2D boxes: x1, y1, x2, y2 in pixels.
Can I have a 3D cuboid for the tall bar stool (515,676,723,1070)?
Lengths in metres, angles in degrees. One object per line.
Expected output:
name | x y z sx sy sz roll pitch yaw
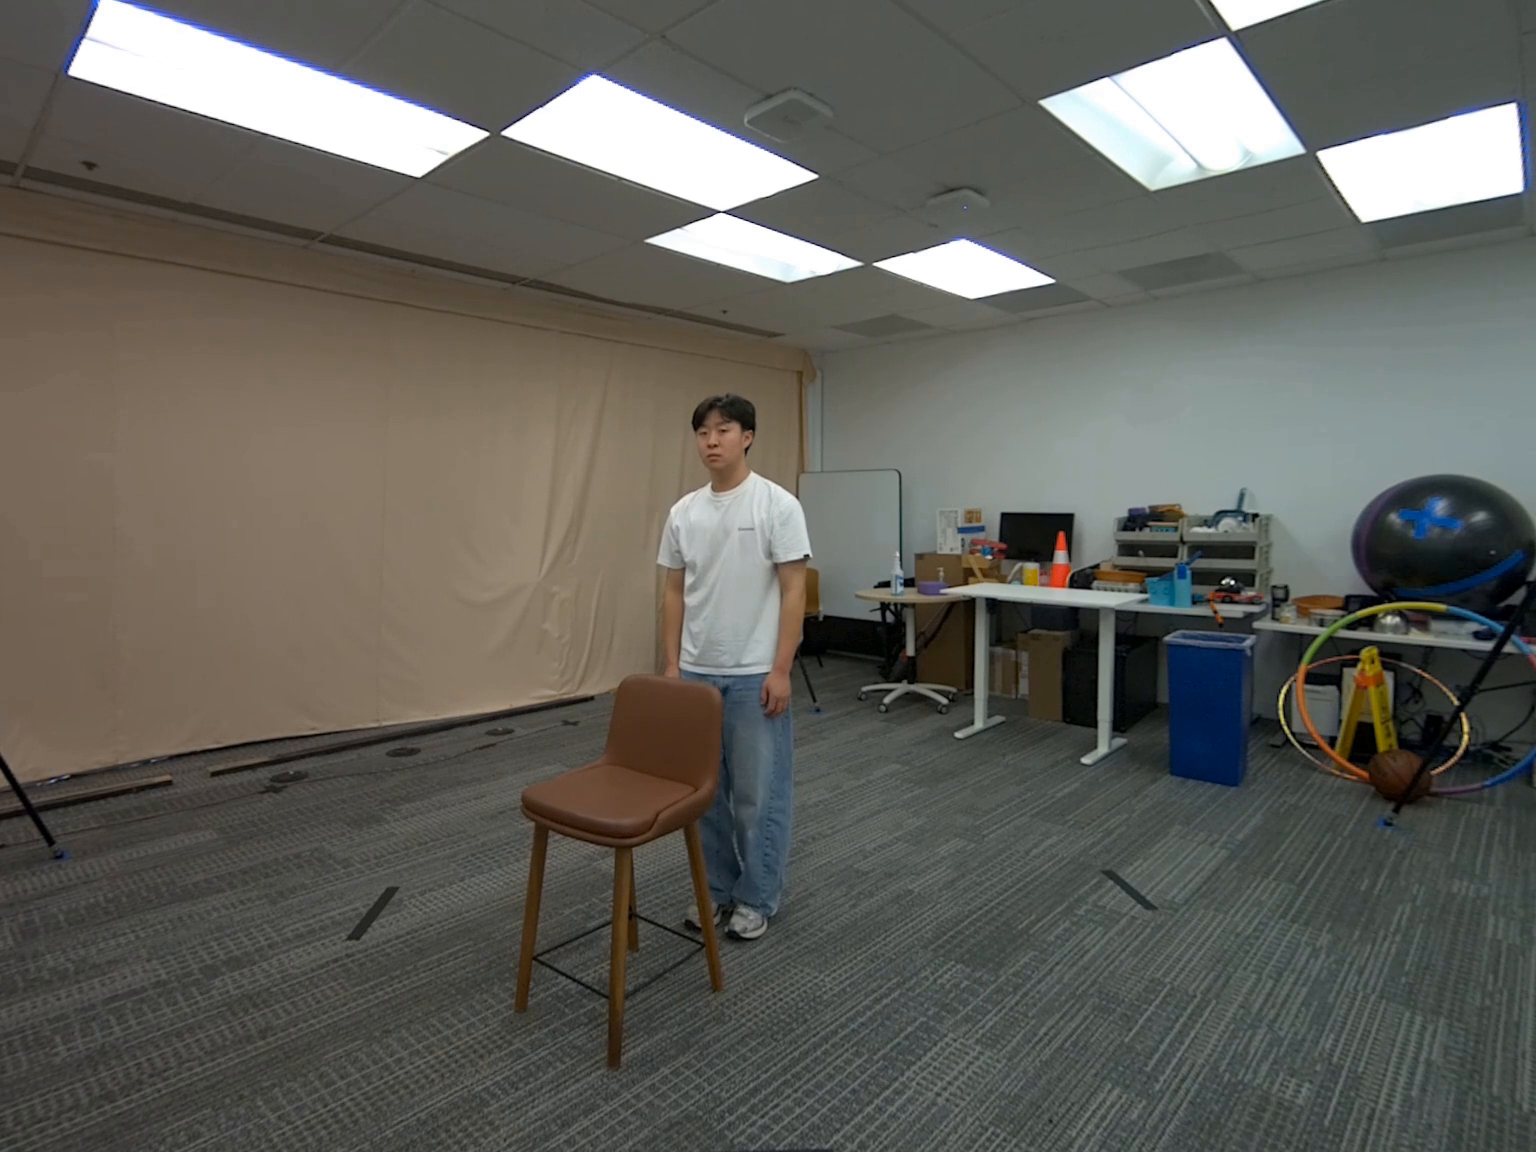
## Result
tall bar stool | -0.400 0.759 2.361 0.471 0.889 0.453 3 2 39
